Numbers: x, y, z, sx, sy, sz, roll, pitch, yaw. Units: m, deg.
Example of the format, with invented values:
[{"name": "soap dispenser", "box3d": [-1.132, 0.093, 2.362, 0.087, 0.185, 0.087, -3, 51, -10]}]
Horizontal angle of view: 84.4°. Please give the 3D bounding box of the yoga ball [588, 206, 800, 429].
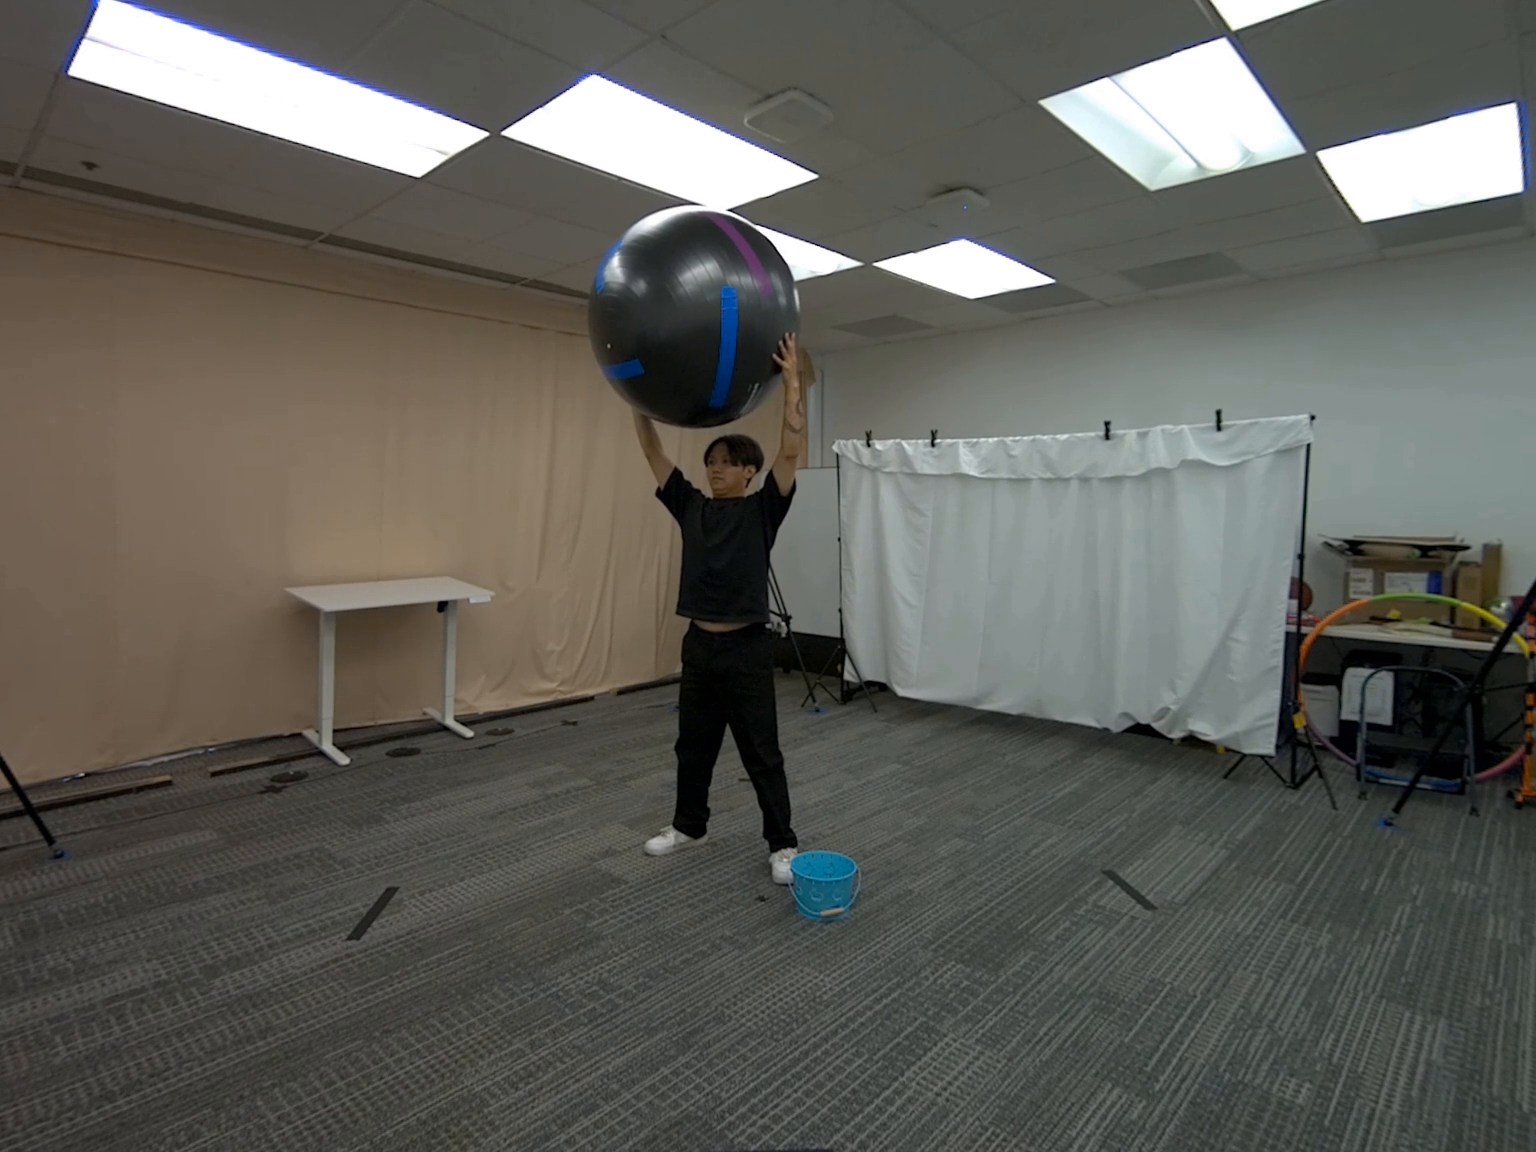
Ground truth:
[{"name": "yoga ball", "box3d": [-0.257, -0.907, 3.010, 0.757, 0.756, 0.760, 0, 4, -2]}]
